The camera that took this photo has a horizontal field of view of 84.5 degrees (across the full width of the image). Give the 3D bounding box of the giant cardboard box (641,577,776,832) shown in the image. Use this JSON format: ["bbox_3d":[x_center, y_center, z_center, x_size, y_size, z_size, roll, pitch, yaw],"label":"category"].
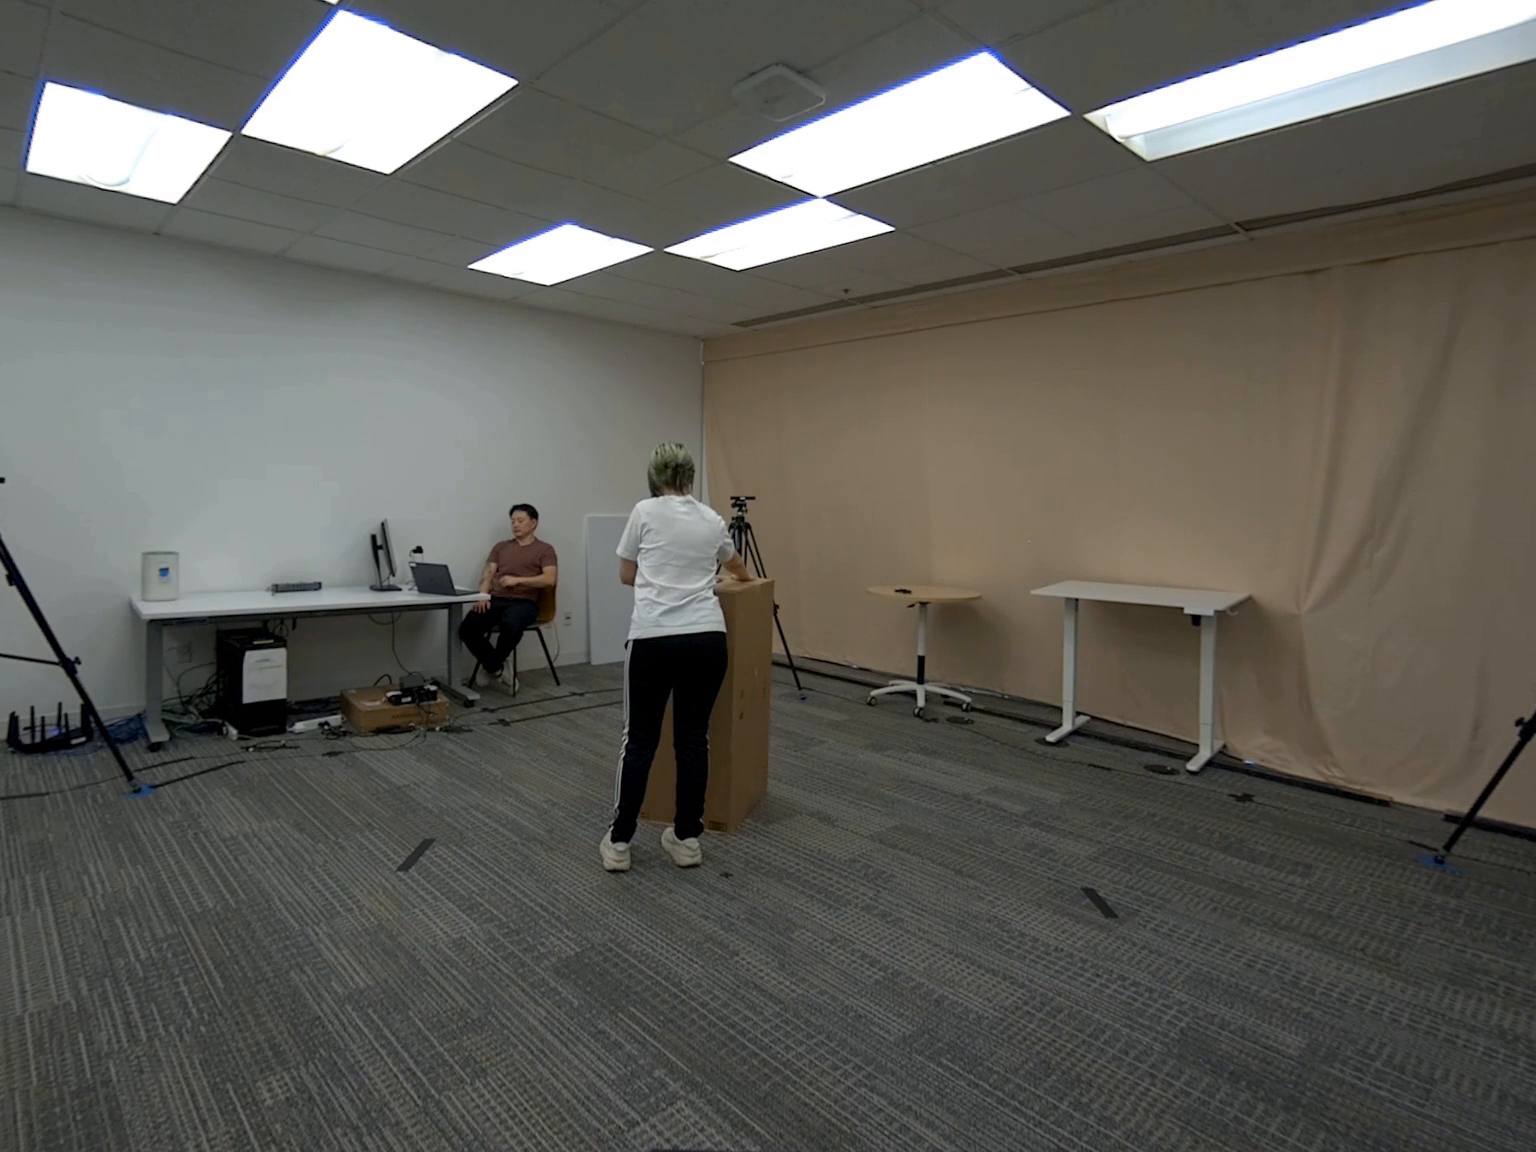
[{"bbox_3d":[-0.273,0.536,3.784,0.453,1.024,0.577,4,4,16],"label":"giant cardboard box"}]
